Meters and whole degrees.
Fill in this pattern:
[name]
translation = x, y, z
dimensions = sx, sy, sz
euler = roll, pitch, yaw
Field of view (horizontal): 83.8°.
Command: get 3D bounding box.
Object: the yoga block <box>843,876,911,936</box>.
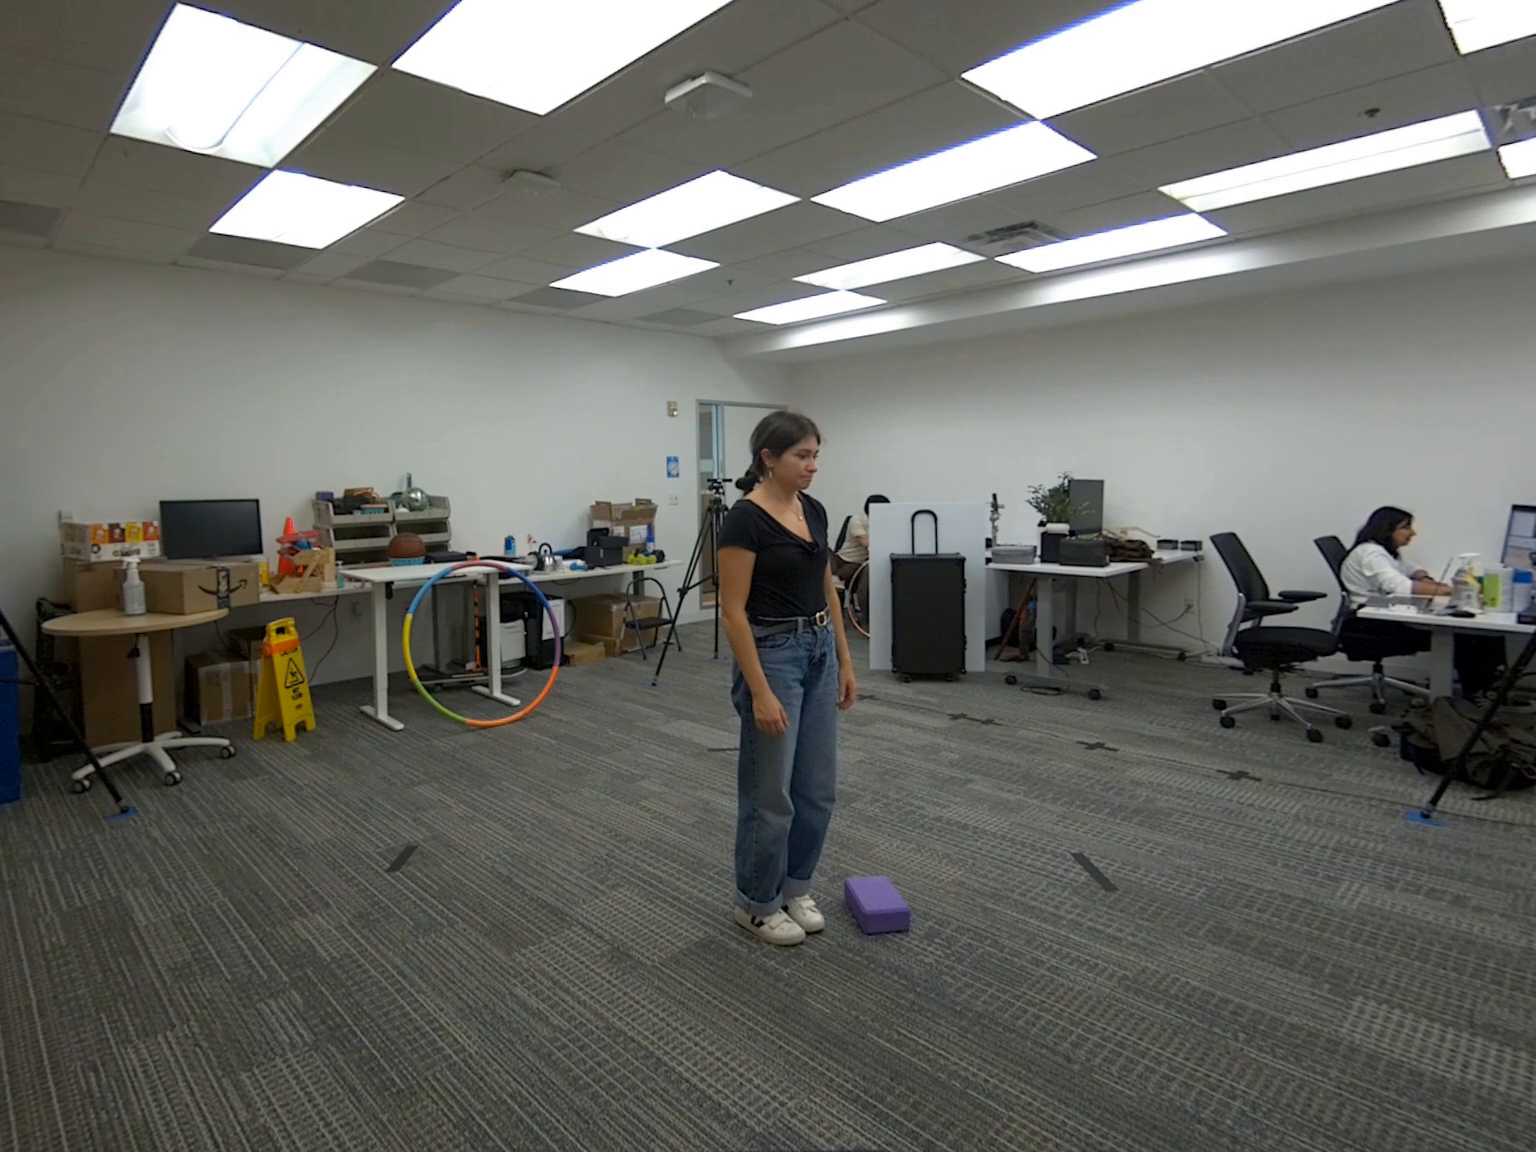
[yoga block]
translation = 0.347, 1.037, 2.717
dimensions = 0.148, 0.076, 0.232
euler = -2, 4, -10
